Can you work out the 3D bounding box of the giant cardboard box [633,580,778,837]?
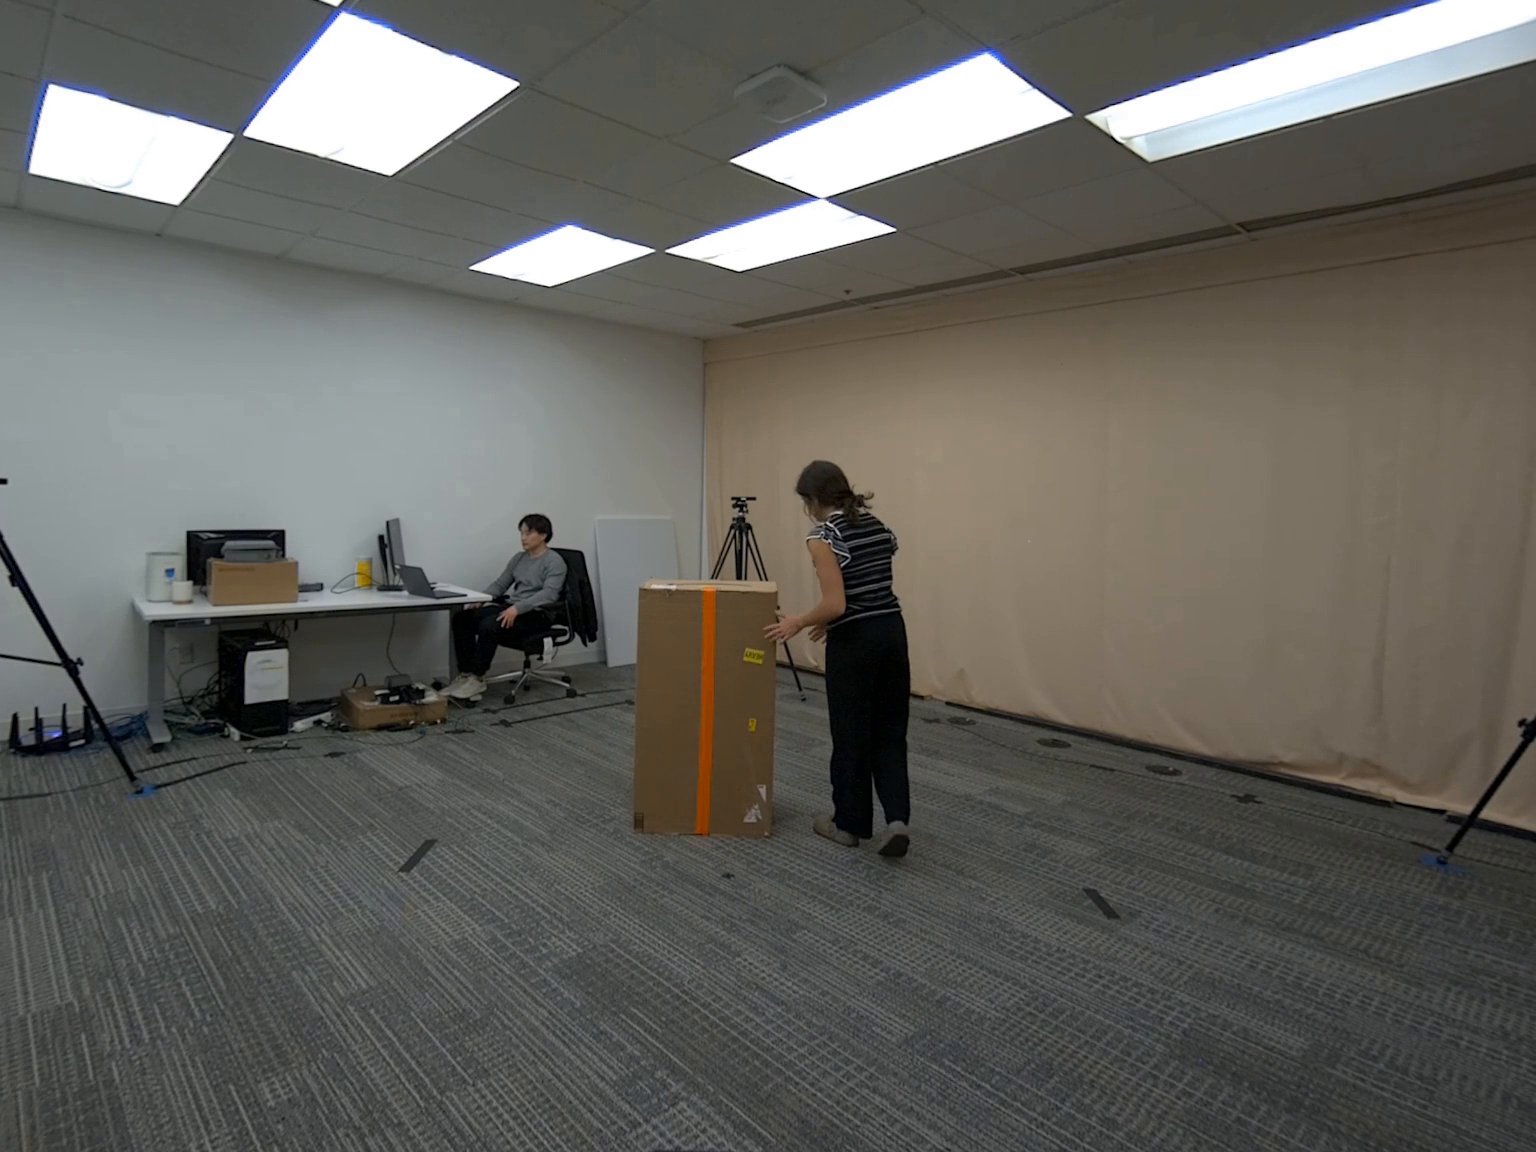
[{"bbox_3d":[-0.268,0.545,3.668,0.579,1.024,0.426,2,3,2],"label":"giant cardboard box"}]
